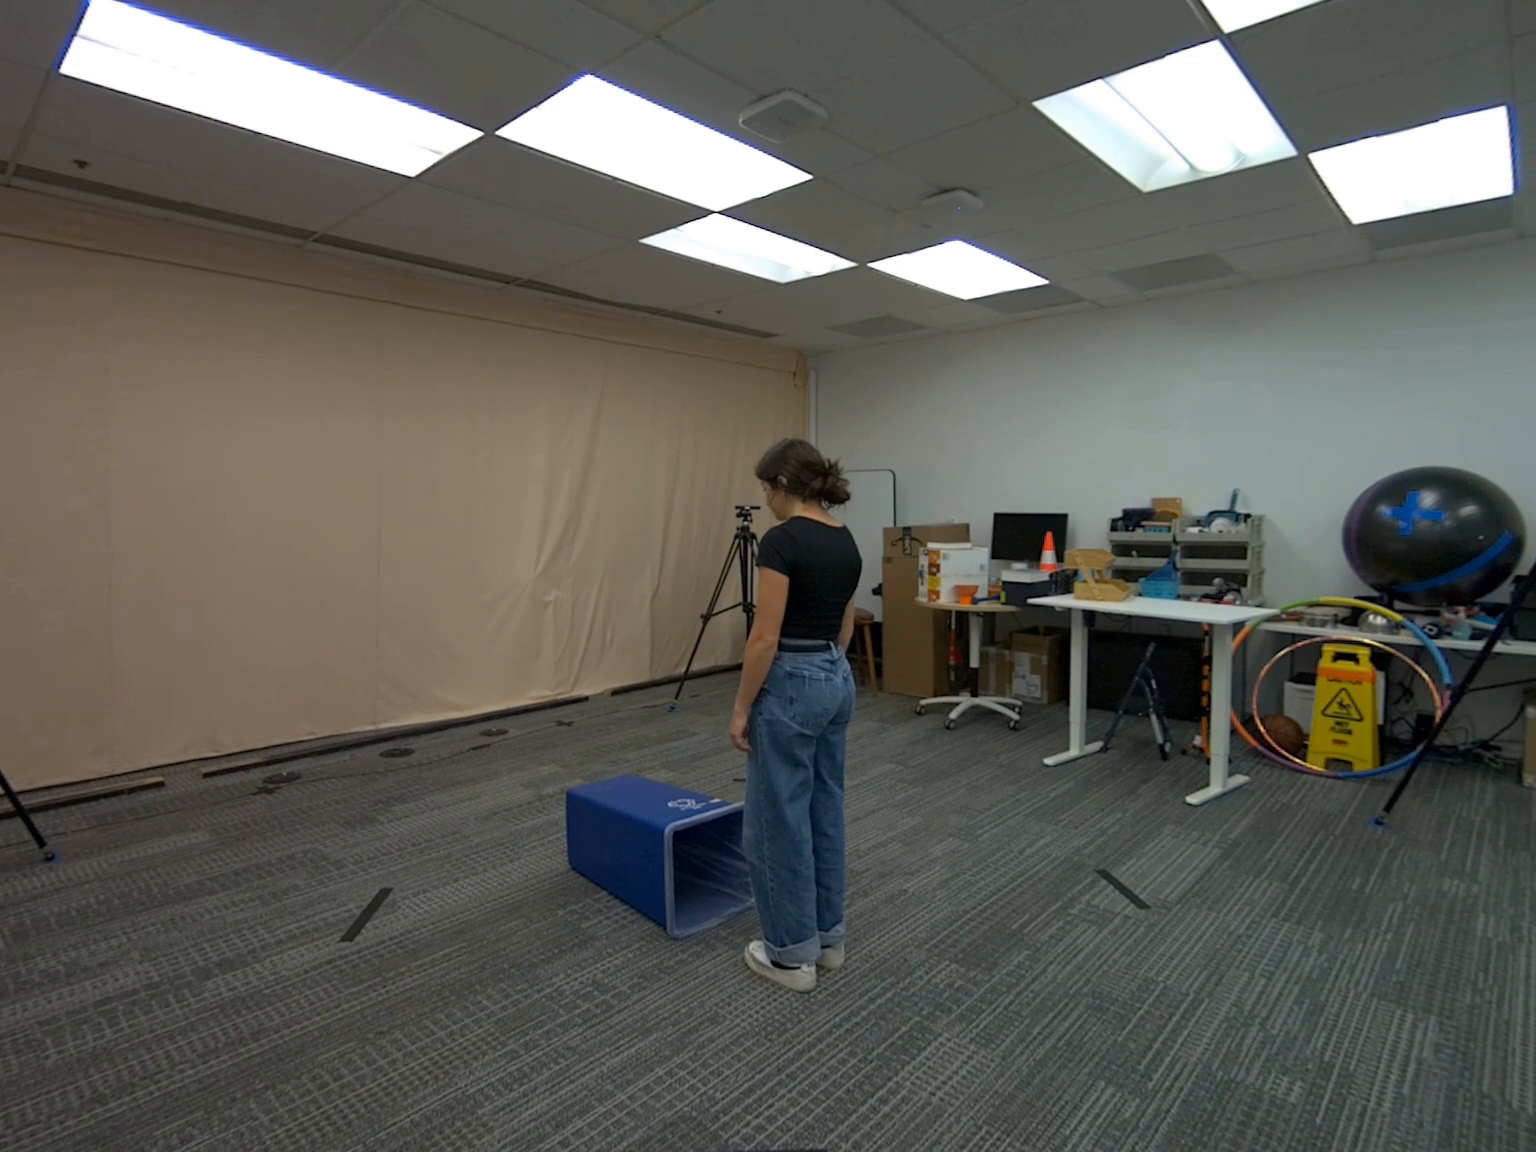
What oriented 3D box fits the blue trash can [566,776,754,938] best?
[{"bbox_3d":[-0.428,0.974,3.072,0.363,0.378,0.736,-4,3,-43],"label":"blue trash can"}]
